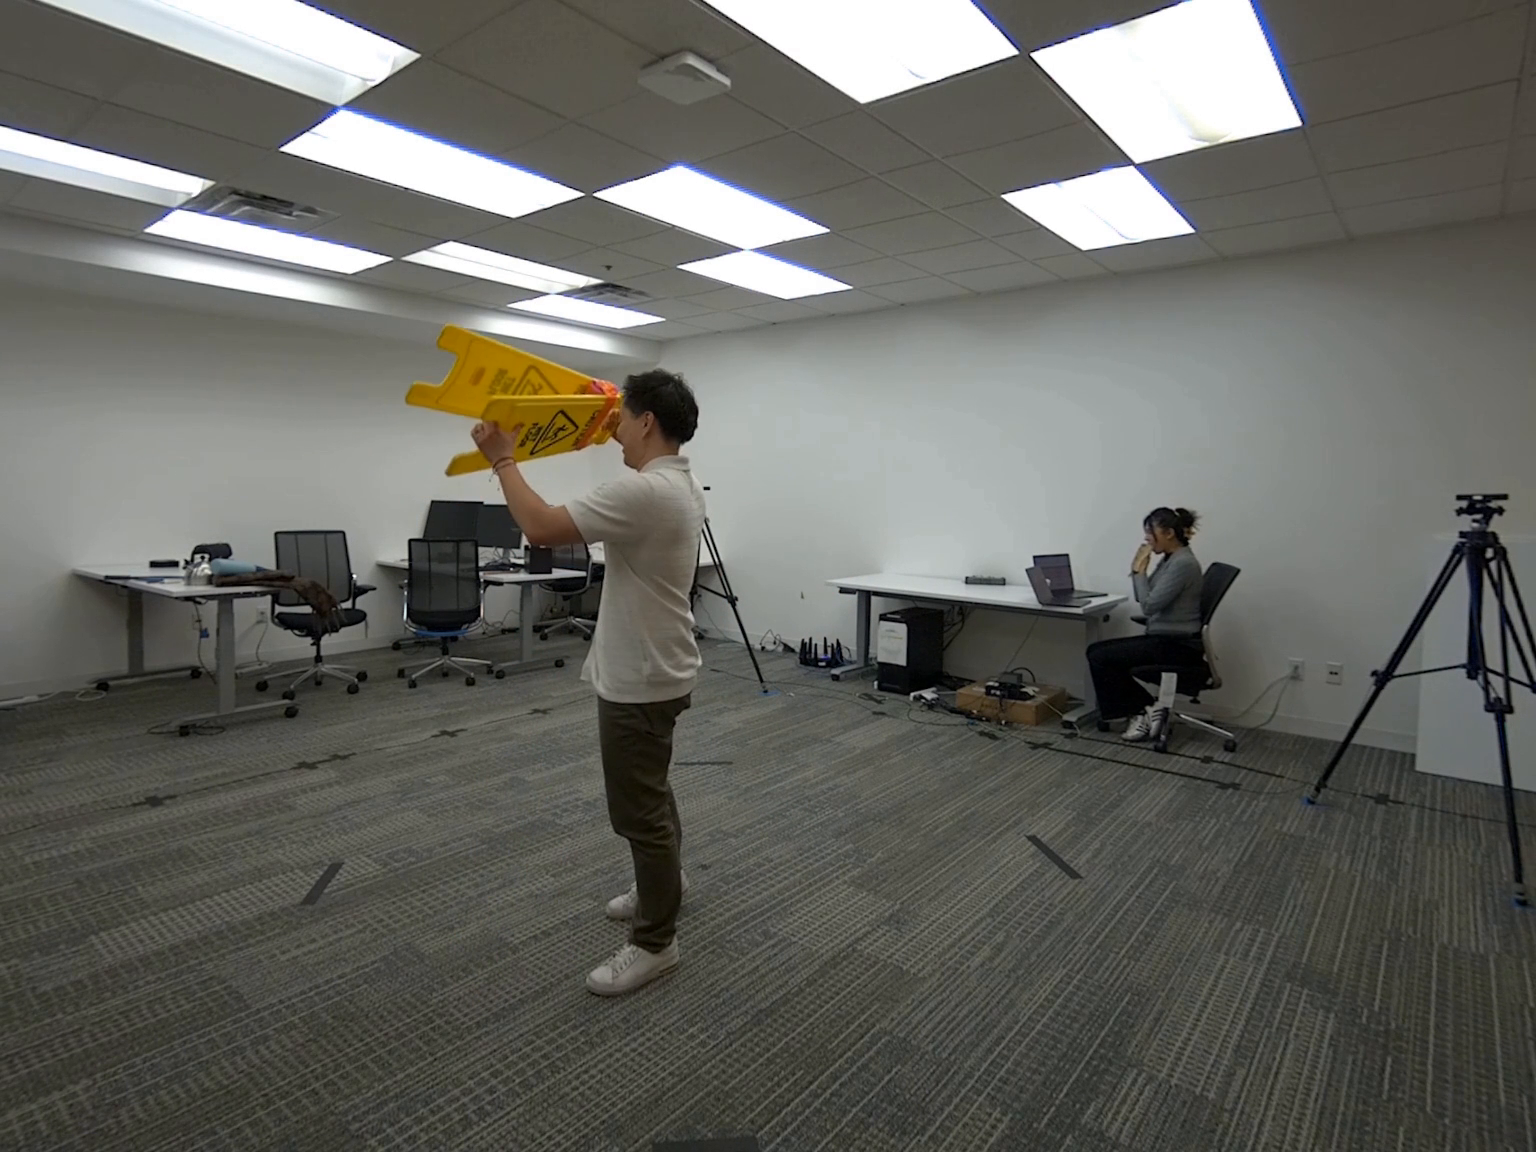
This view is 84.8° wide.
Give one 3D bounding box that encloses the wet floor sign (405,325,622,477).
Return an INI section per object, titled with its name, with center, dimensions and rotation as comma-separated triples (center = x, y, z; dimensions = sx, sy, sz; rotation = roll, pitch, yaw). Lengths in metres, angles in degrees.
[wet floor sign]
center = -0.670, -0.477, 2.478
dimensions = 0.627, 0.298, 0.282
rotation = -5, -36, -52
